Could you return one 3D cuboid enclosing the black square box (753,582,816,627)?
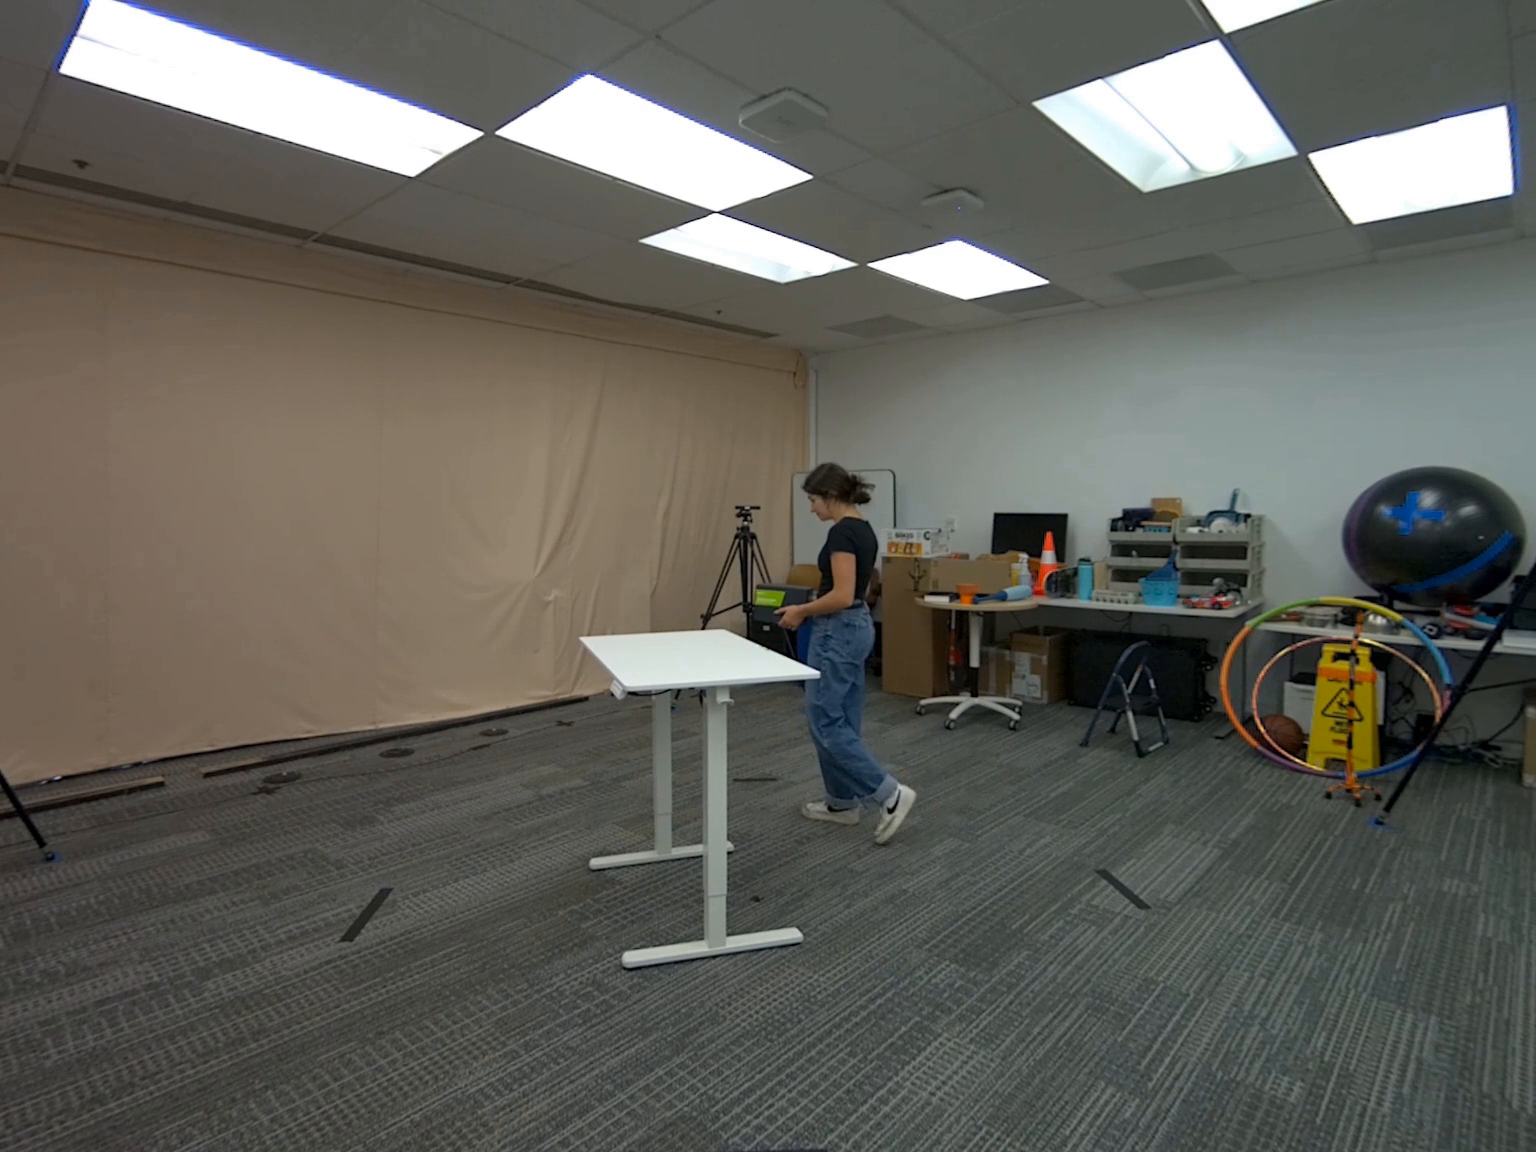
[{"bbox_3d":[0.073,0.120,3.709,0.231,0.156,0.214,6,2,12],"label":"black square box"}]
